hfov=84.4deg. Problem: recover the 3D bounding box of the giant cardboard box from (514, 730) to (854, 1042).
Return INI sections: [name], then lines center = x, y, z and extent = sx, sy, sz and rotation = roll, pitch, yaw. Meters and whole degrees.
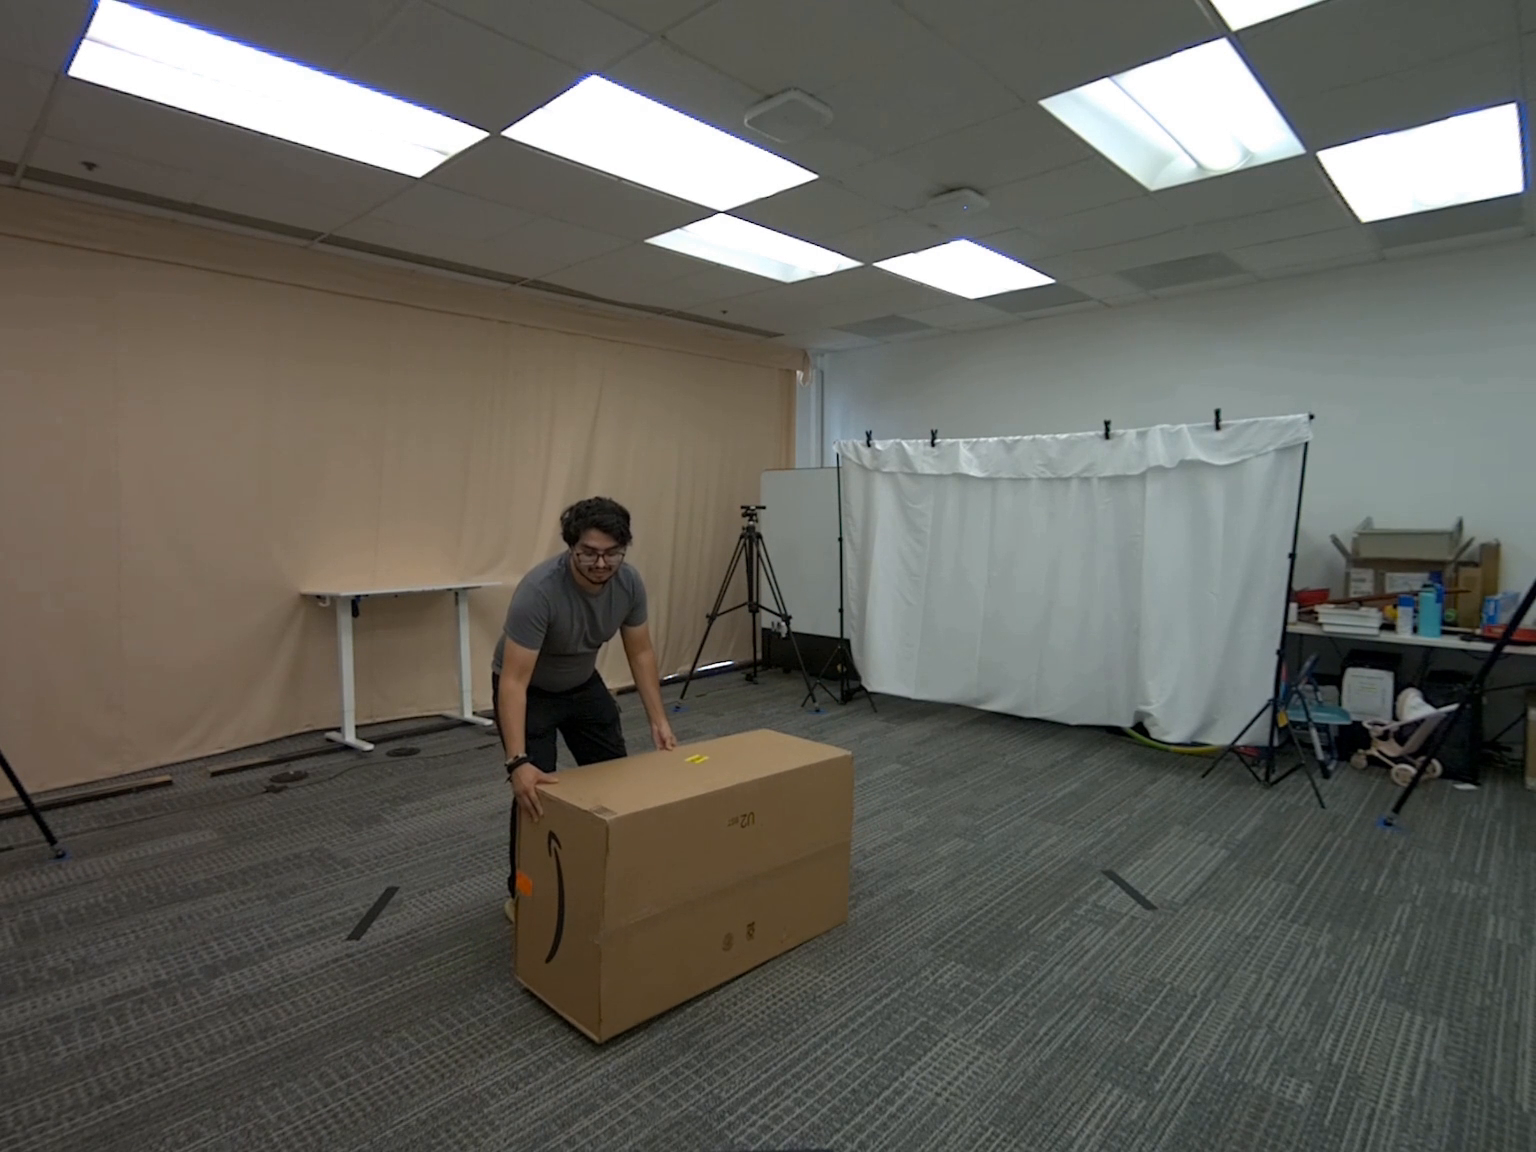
[giant cardboard box]
center = -0.216, 0.875, 2.610
extent = 0.993, 0.577, 0.440
rotation = -1, 4, -45
